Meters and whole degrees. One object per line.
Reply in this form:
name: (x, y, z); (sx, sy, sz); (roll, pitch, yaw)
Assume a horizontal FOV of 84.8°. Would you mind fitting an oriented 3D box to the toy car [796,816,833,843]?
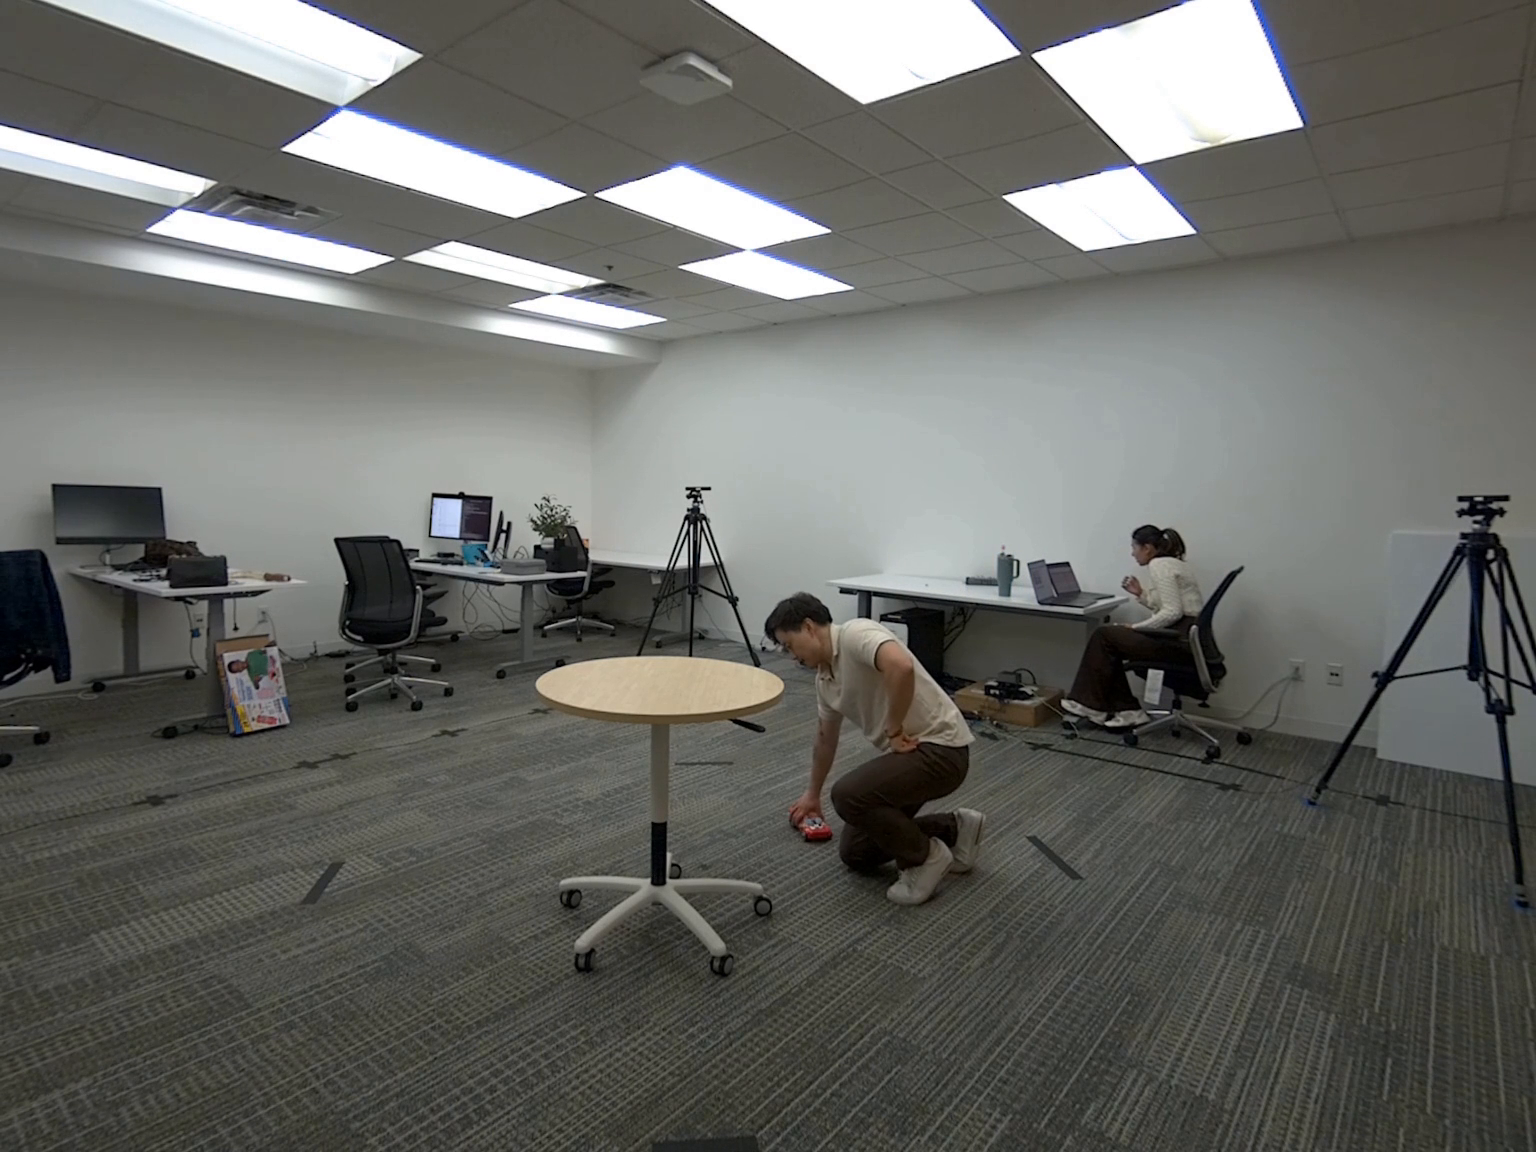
toy car: (0.162, 1.008, 3.485); (0.128, 0.082, 0.262); (-1, 16, -17)
